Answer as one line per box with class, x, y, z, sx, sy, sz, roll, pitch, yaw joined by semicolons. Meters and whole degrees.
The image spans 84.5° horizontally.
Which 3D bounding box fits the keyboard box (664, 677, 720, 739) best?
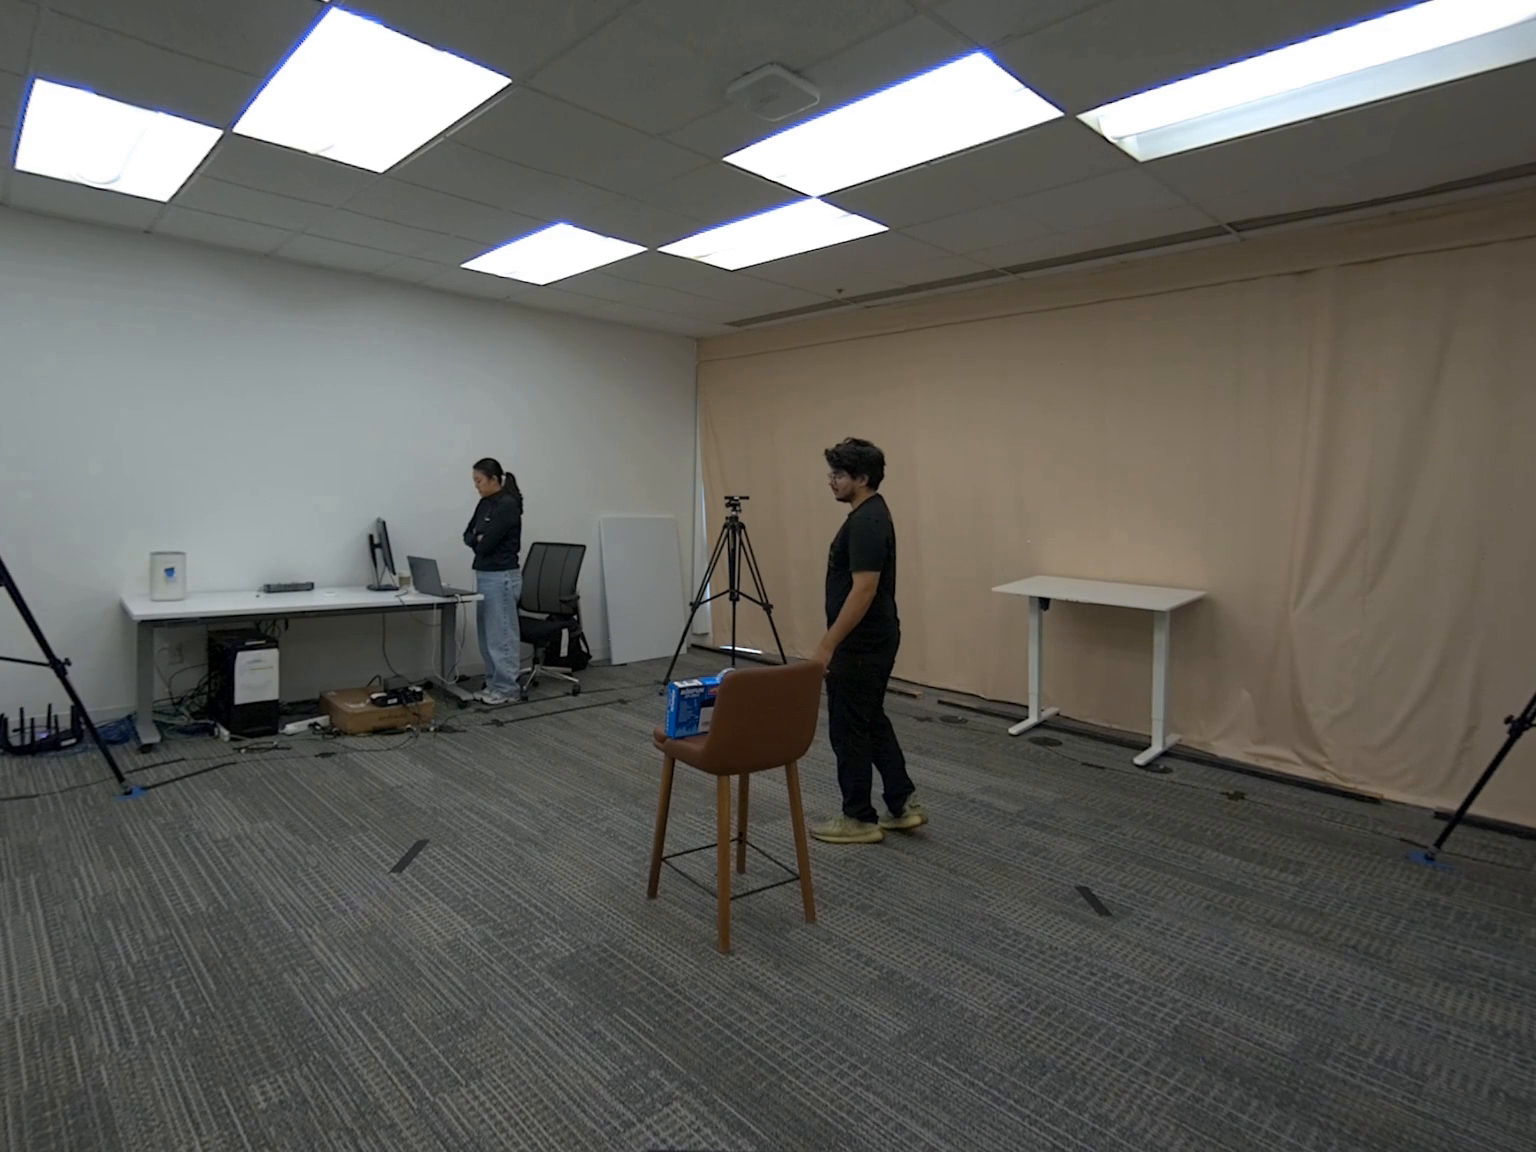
keyboard box;-0.142;0.429;2.830;0.427;0.175;0.061;-2;12;-35
